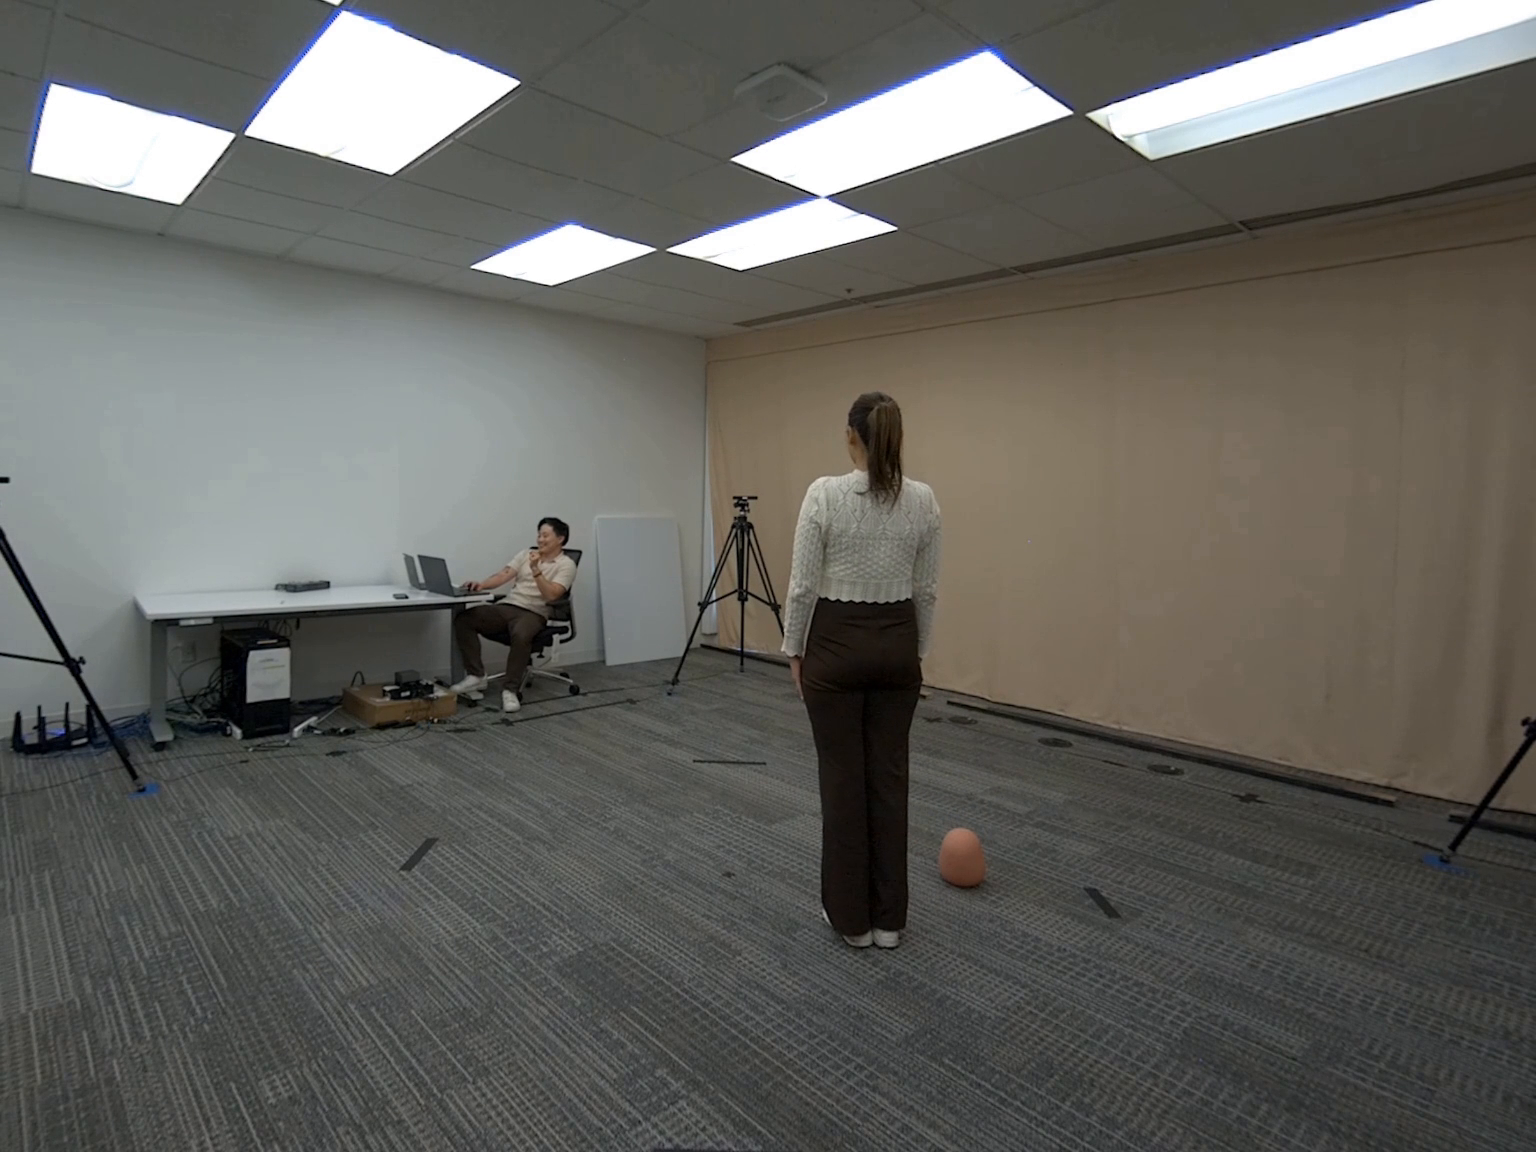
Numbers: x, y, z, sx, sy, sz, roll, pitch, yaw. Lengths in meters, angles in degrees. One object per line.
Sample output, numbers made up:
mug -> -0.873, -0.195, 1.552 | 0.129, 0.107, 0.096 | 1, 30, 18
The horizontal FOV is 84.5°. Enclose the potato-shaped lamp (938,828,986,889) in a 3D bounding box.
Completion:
potato-shaped lamp -> 0.702, 1.025, 3.092 | 0.168, 0.198, 0.167 | 2, 0, 35
